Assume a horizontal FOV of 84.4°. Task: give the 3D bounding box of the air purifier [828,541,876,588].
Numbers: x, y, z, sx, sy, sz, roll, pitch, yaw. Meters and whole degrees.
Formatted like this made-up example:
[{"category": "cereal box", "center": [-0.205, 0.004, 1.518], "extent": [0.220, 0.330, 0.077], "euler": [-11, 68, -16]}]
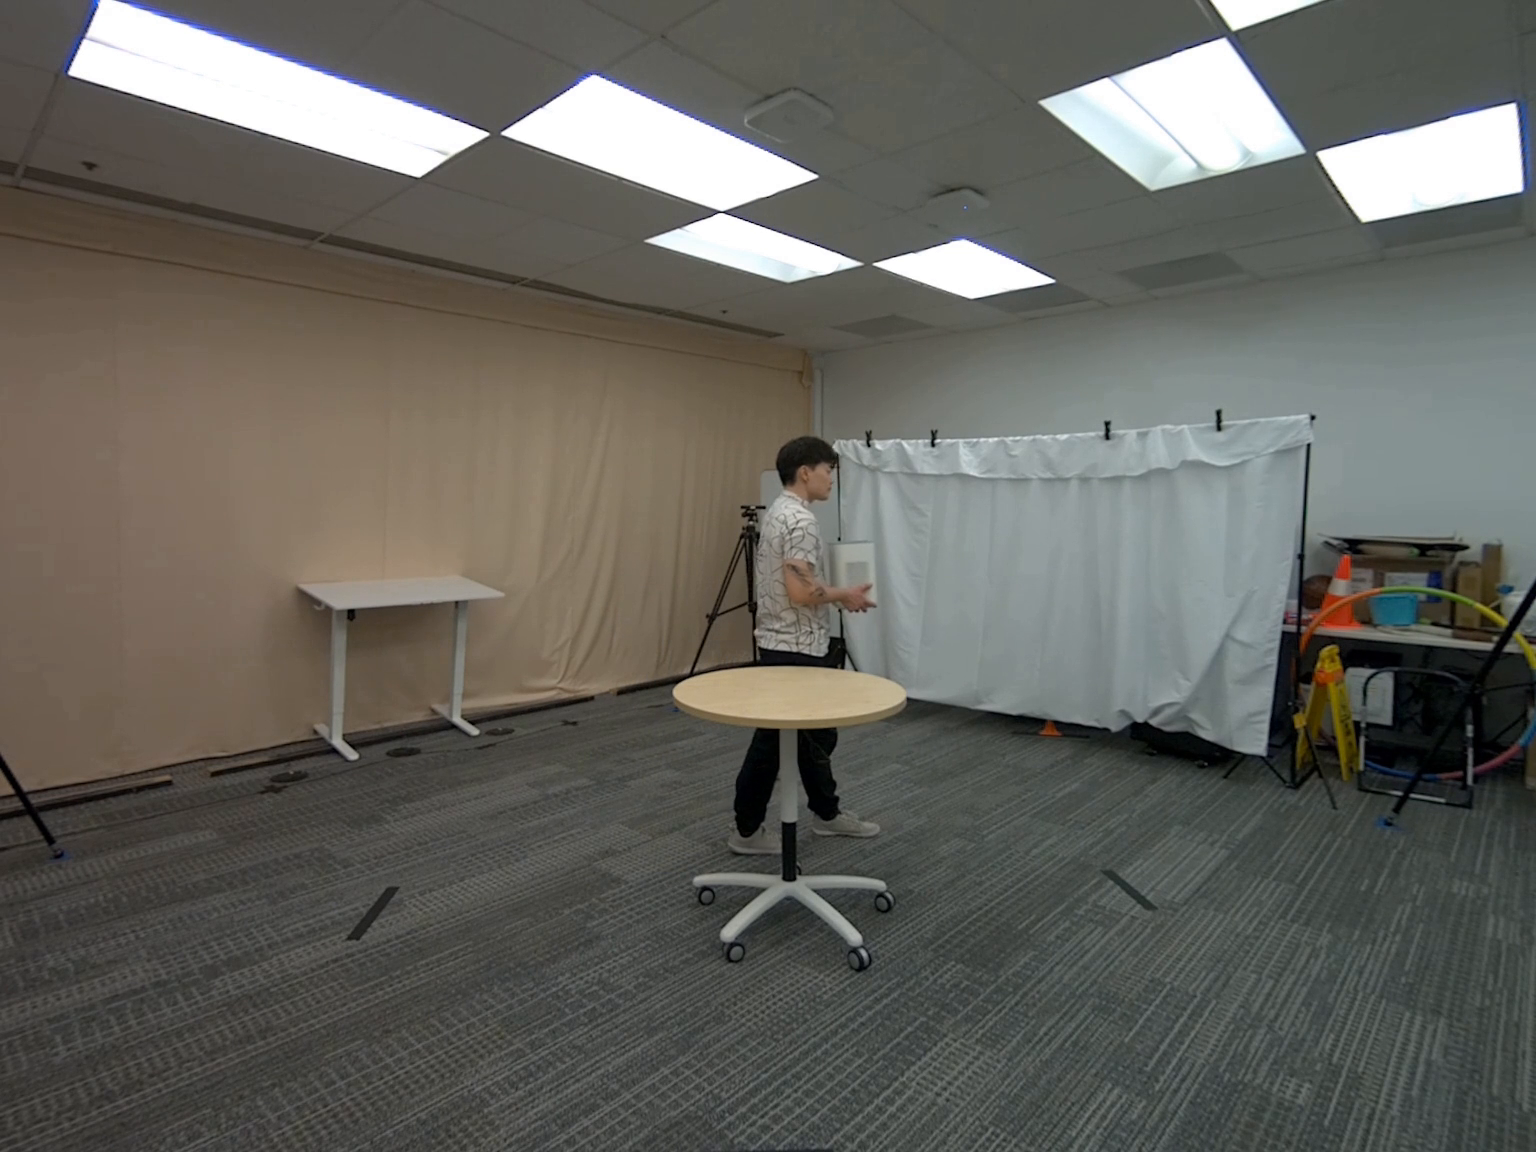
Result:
[{"category": "air purifier", "center": [0.350, -0.008, 3.398], "extent": [0.171, 0.265, 0.172], "euler": [-2, 2, -5]}]
